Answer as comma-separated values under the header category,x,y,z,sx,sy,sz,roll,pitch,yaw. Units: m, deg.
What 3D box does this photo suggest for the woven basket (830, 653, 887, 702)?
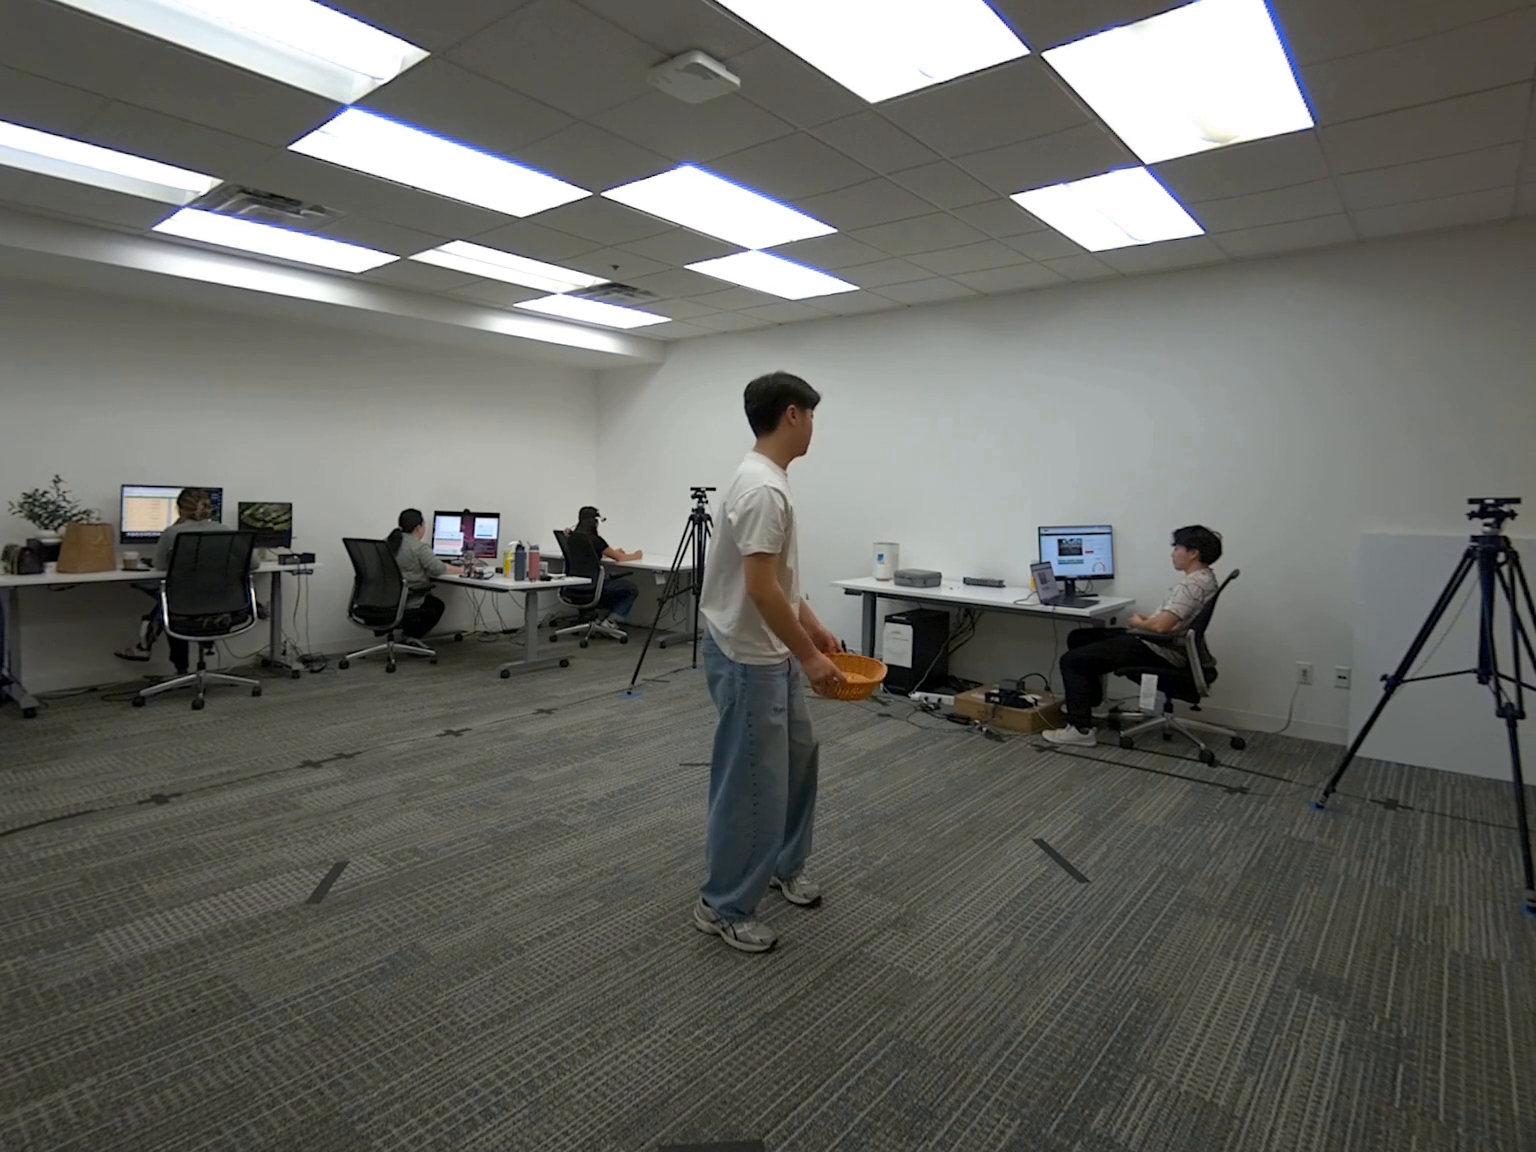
category,x,y,z,sx,sy,sz,roll,pitch,yaw
woven basket,0.214,0.317,2.640,0.260,0.073,0.342,7,8,26
